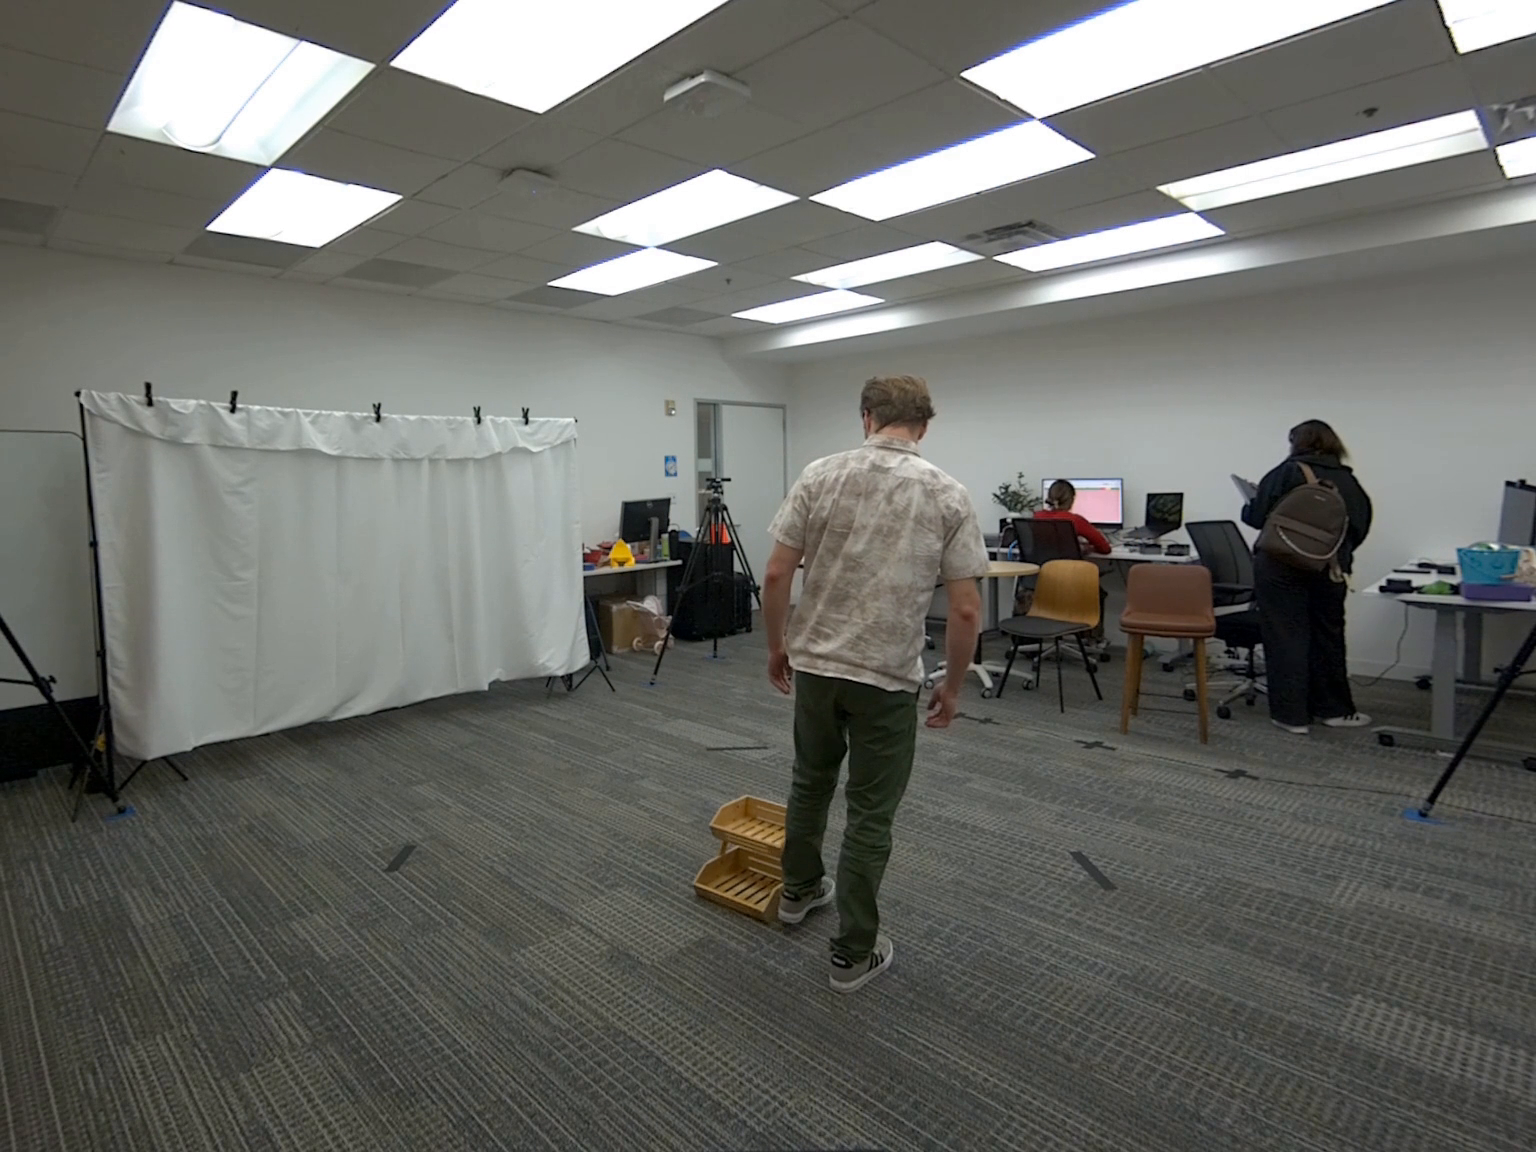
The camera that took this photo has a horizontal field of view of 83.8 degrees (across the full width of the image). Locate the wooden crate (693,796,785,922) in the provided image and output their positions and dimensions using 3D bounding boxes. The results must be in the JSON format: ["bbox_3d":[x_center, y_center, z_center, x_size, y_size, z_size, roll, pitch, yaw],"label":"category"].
[{"bbox_3d":[-0.042,0.937,2.867,0.334,0.272,0.294,3,6,38],"label":"wooden crate"}]
